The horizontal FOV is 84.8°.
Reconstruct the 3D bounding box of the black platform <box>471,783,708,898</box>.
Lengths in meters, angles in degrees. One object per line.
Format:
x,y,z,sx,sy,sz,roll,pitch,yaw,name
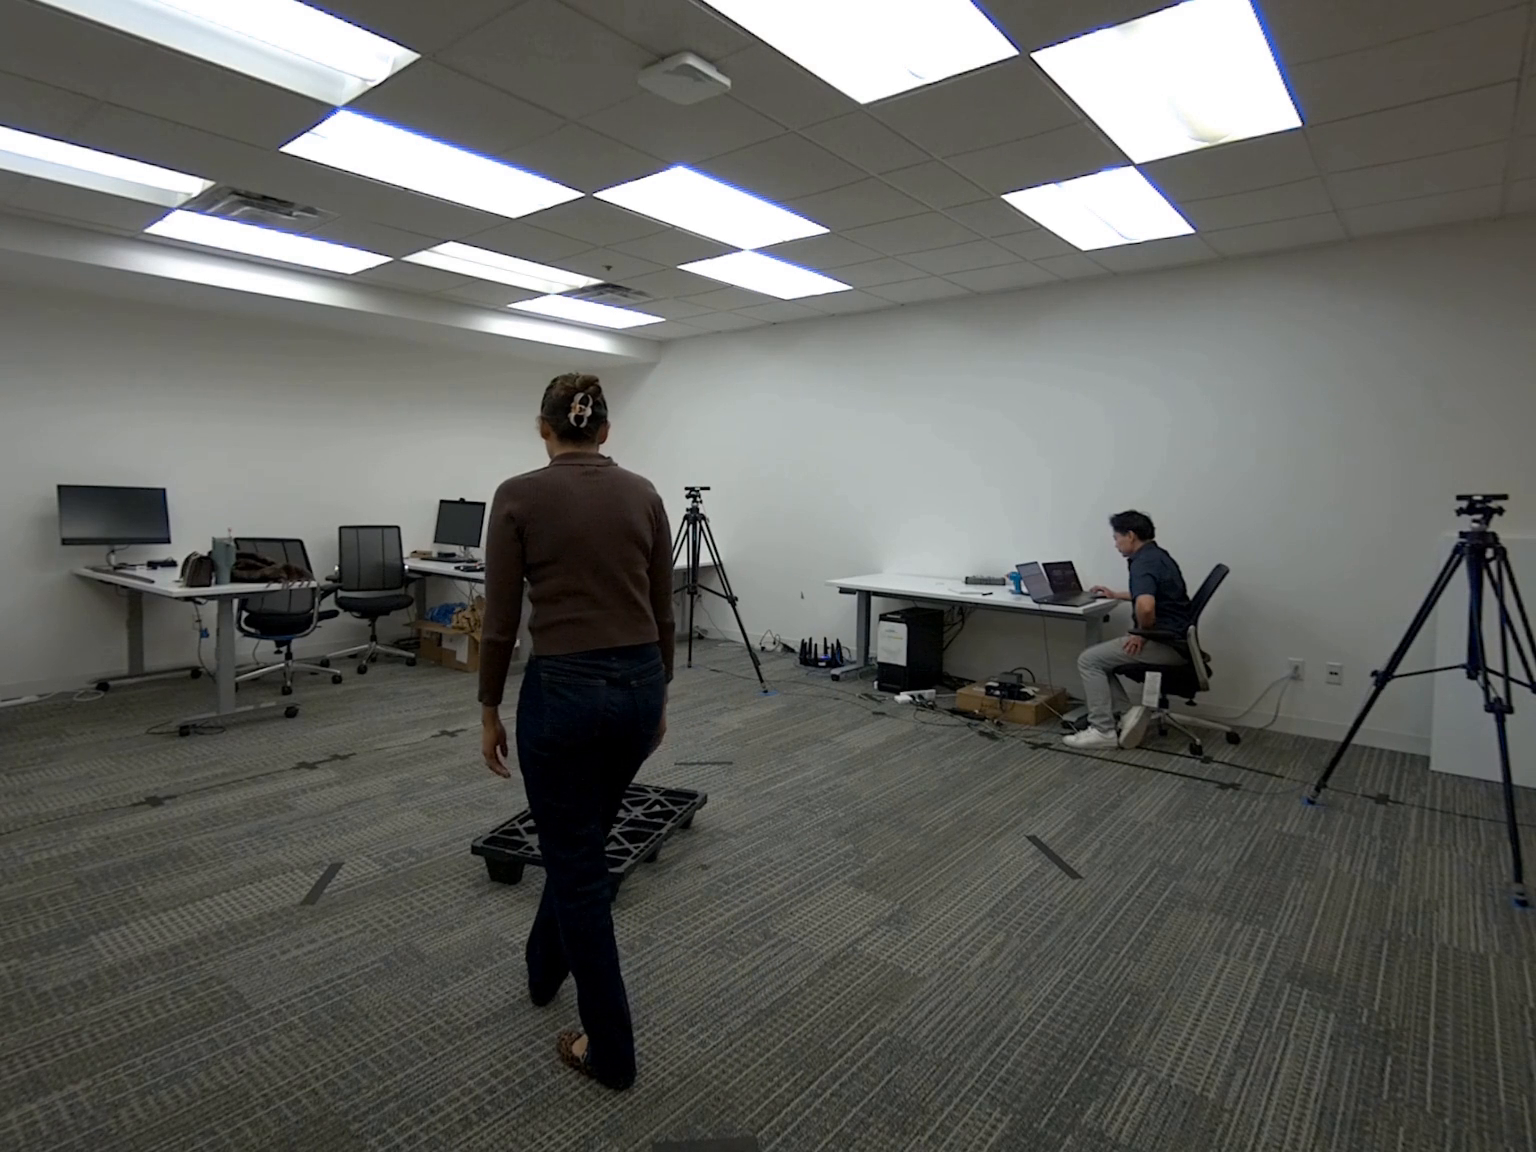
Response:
-0.659,0.978,3.241,0.618,0.143,0.792,2,5,19,black platform
